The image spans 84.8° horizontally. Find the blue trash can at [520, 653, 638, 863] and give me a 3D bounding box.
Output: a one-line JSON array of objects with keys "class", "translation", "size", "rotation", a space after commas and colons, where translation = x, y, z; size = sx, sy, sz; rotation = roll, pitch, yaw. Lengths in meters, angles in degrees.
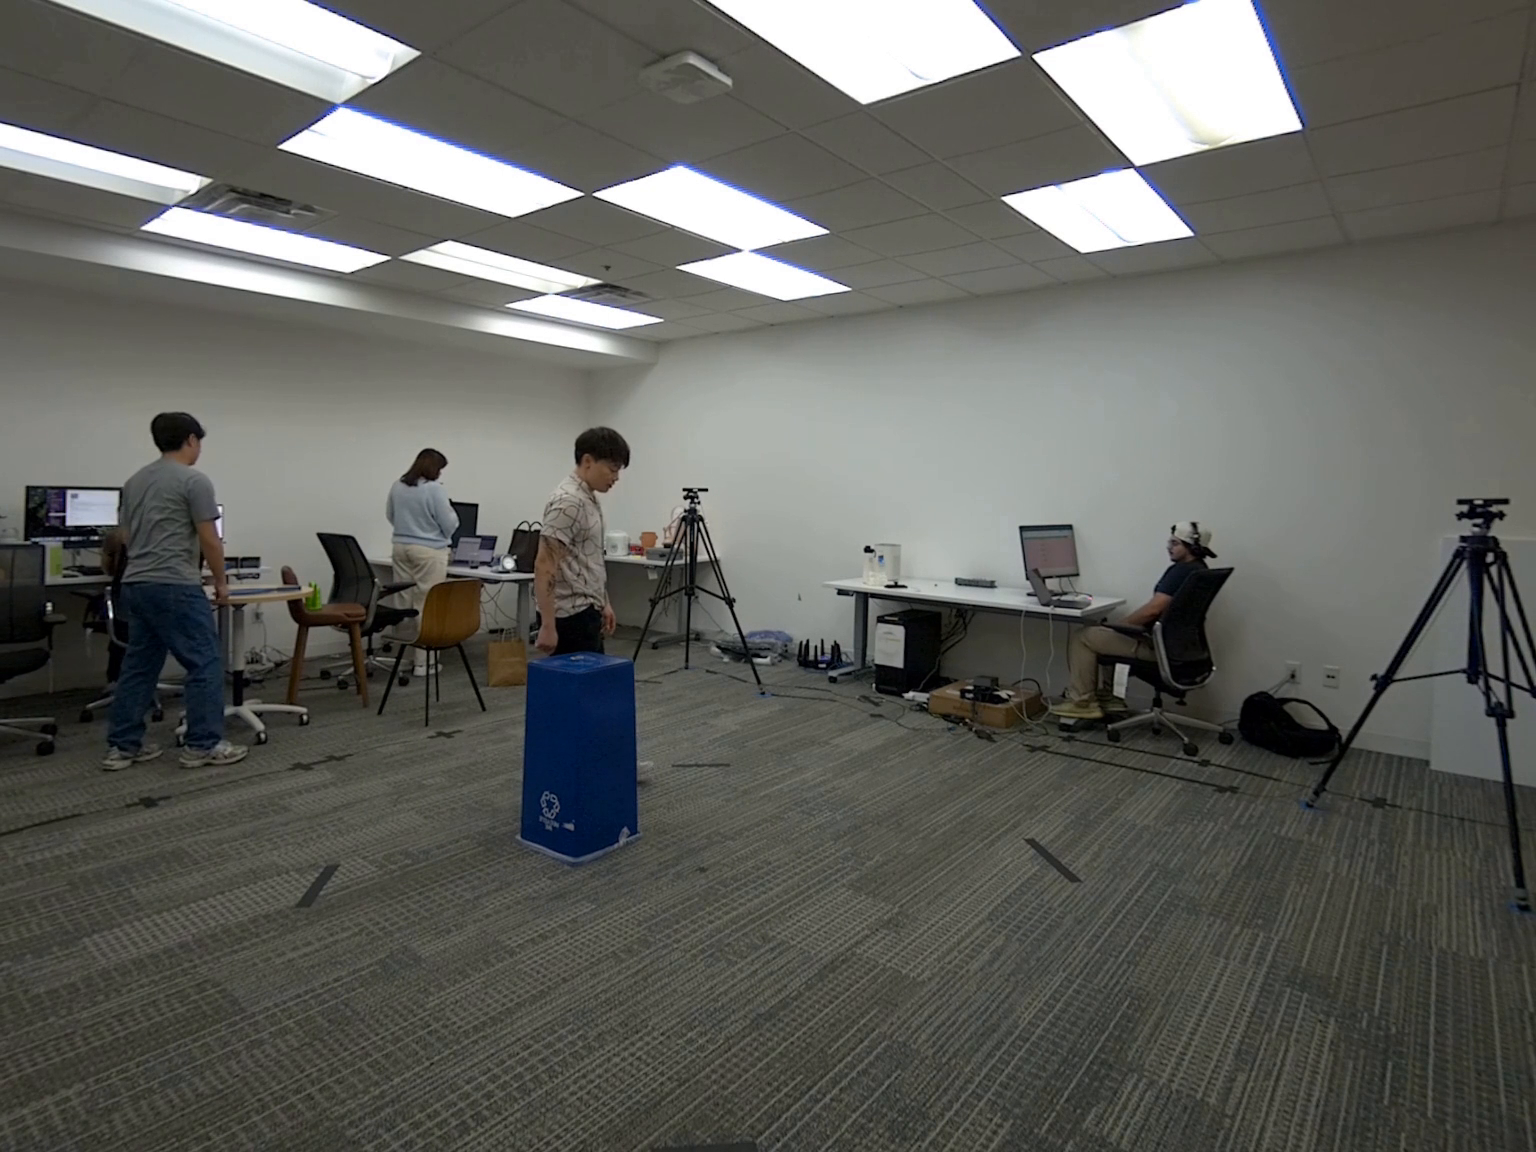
[{"class": "blue trash can", "translation": [-0.753, 0.684, 3.348], "size": [0.386, 0.712, 0.367], "rotation": [2, 2, 37]}]
